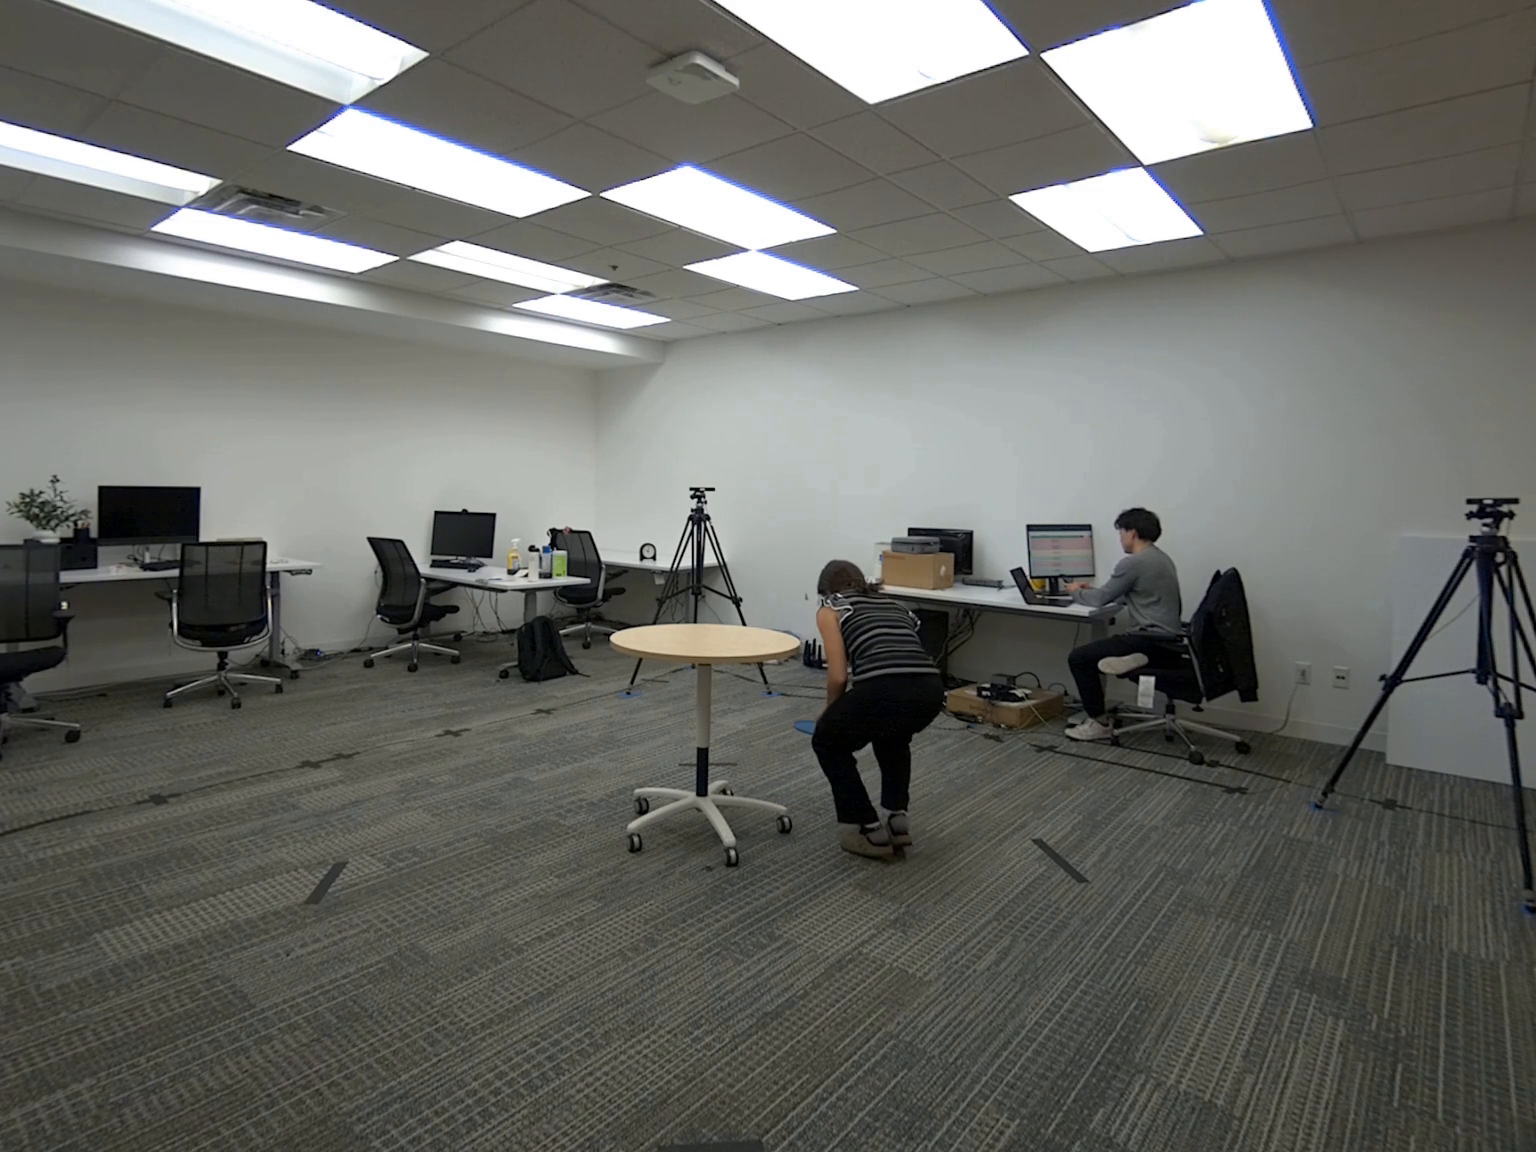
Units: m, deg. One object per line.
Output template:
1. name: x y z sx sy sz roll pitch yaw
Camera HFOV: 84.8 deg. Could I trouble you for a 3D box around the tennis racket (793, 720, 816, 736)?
1. tennis racket: 0.233 0.686 3.736 0.210 0.032 0.442 2 4 -18
